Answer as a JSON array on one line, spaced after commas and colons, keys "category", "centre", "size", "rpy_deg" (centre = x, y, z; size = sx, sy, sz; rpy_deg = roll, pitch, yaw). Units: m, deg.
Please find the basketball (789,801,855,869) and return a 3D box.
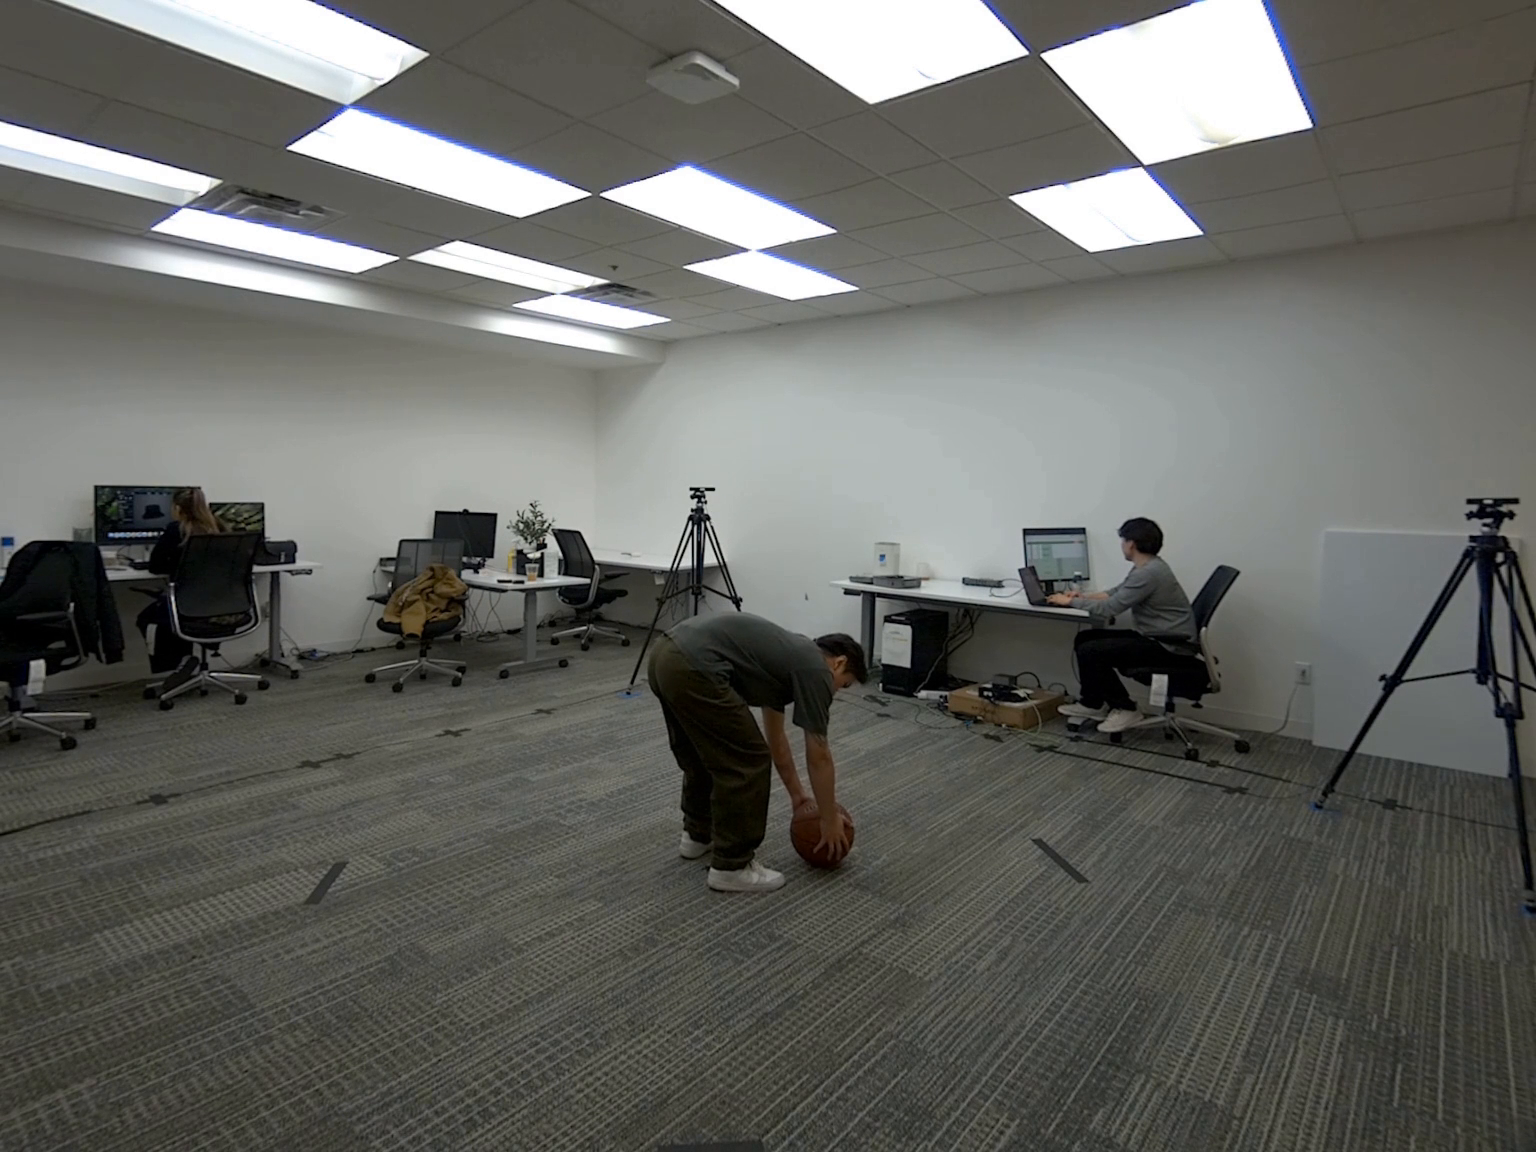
[{"category": "basketball", "centre": [0.200, 0.949, 3.174], "size": [0.235, 0.235, 0.237], "rpy_deg": [1, 4, -2]}]
